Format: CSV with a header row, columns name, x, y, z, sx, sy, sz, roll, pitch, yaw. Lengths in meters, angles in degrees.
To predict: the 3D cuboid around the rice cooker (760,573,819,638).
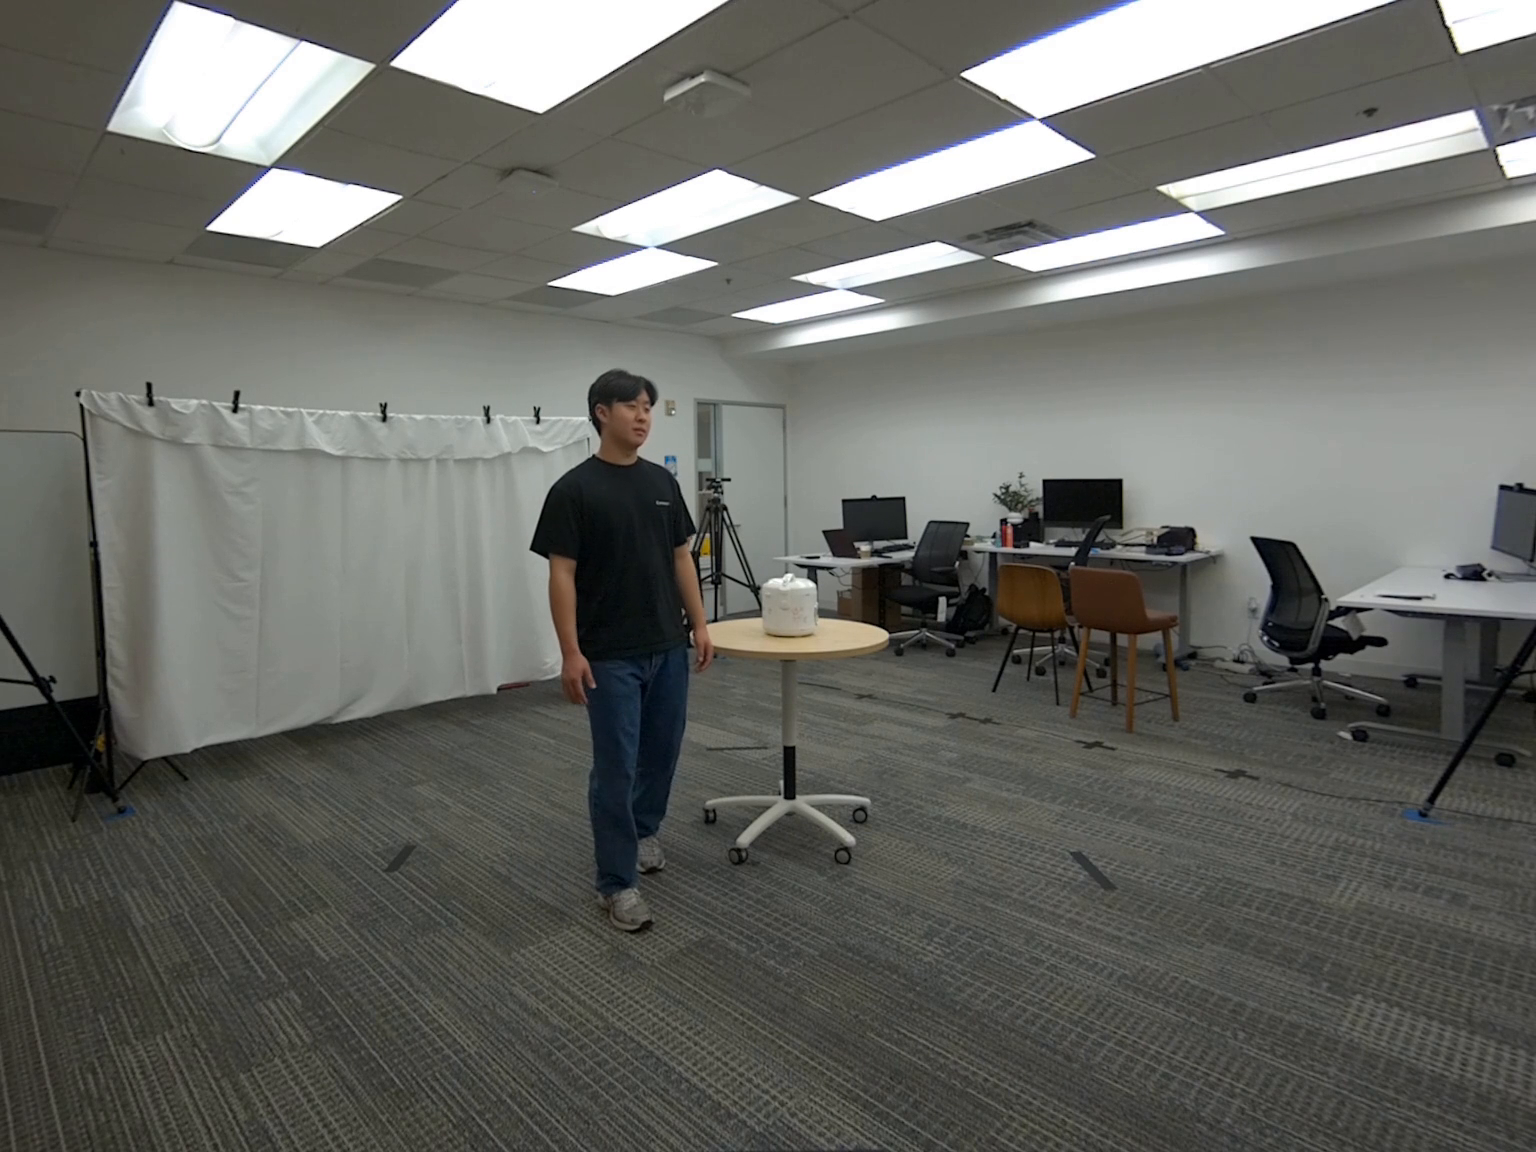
name,x,y,z,sx,sy,sz,roll,pitch,yaw
rice cooker,0.089,0.107,3.294,0.220,0.232,0.218,0,4,14
